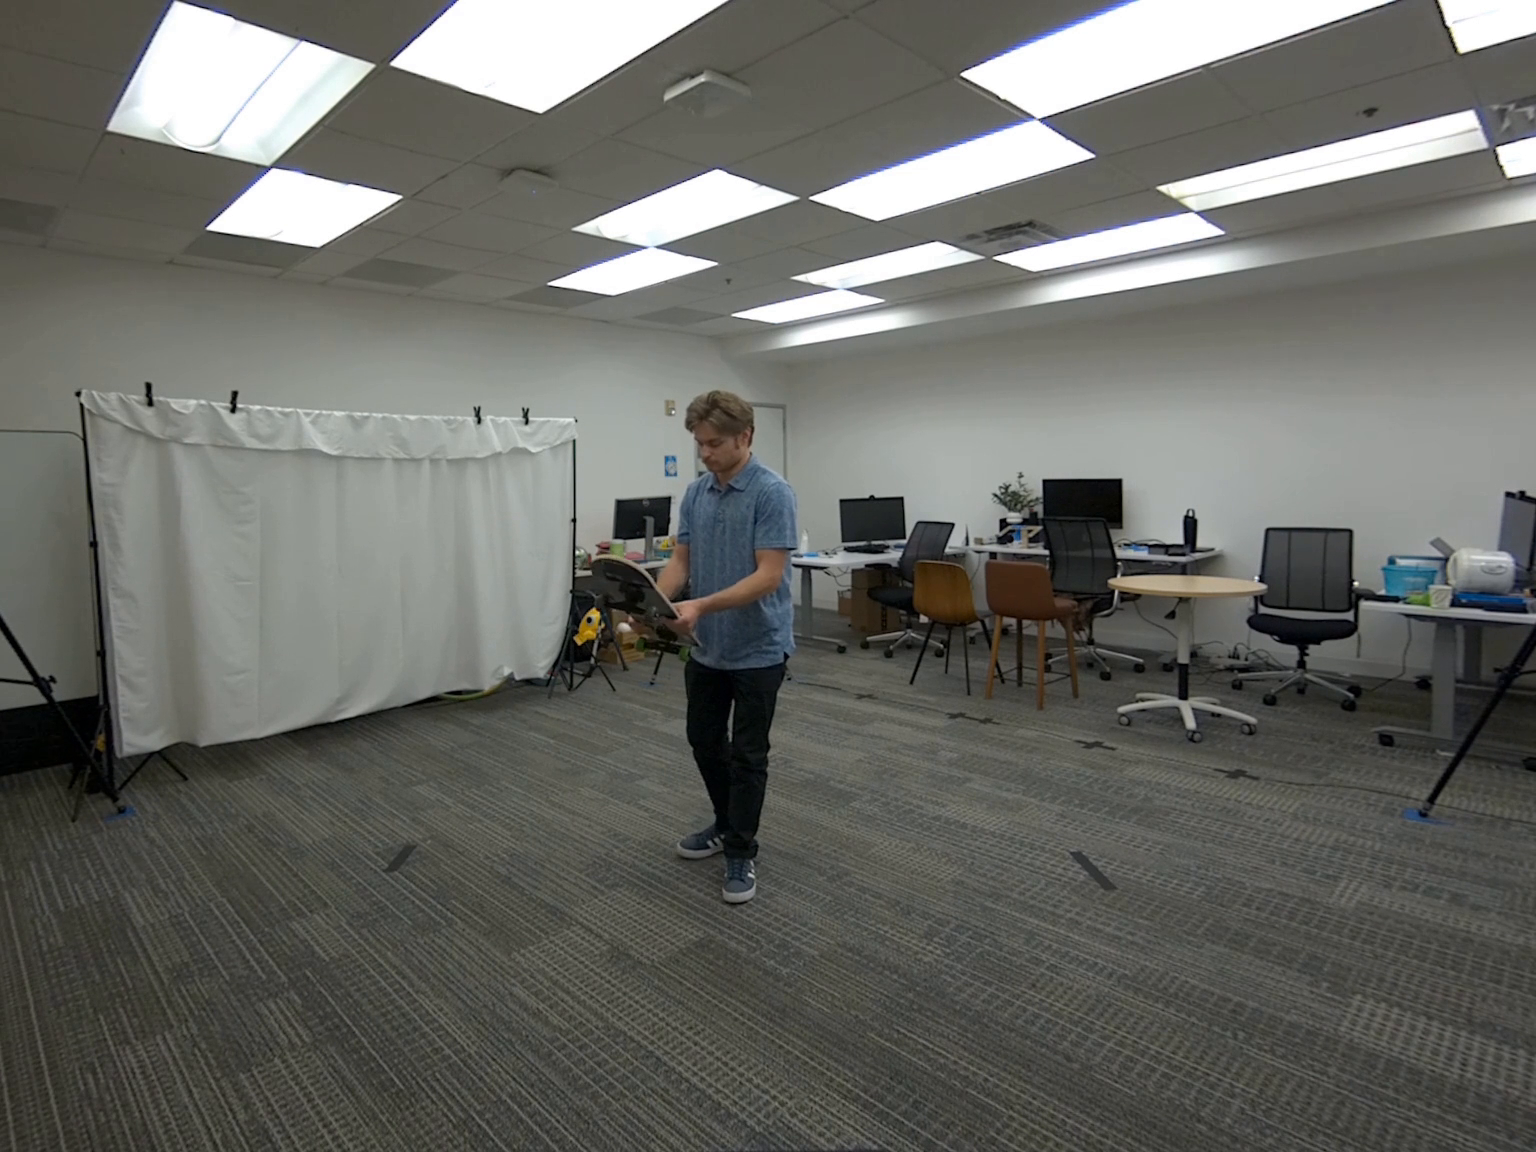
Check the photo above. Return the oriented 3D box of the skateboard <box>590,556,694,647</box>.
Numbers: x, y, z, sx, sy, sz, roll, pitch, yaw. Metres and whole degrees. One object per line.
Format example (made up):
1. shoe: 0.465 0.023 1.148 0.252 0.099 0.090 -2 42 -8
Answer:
1. skateboard: -0.366 0.143 2.613 0.196 0.111 0.764 12 -20 13
